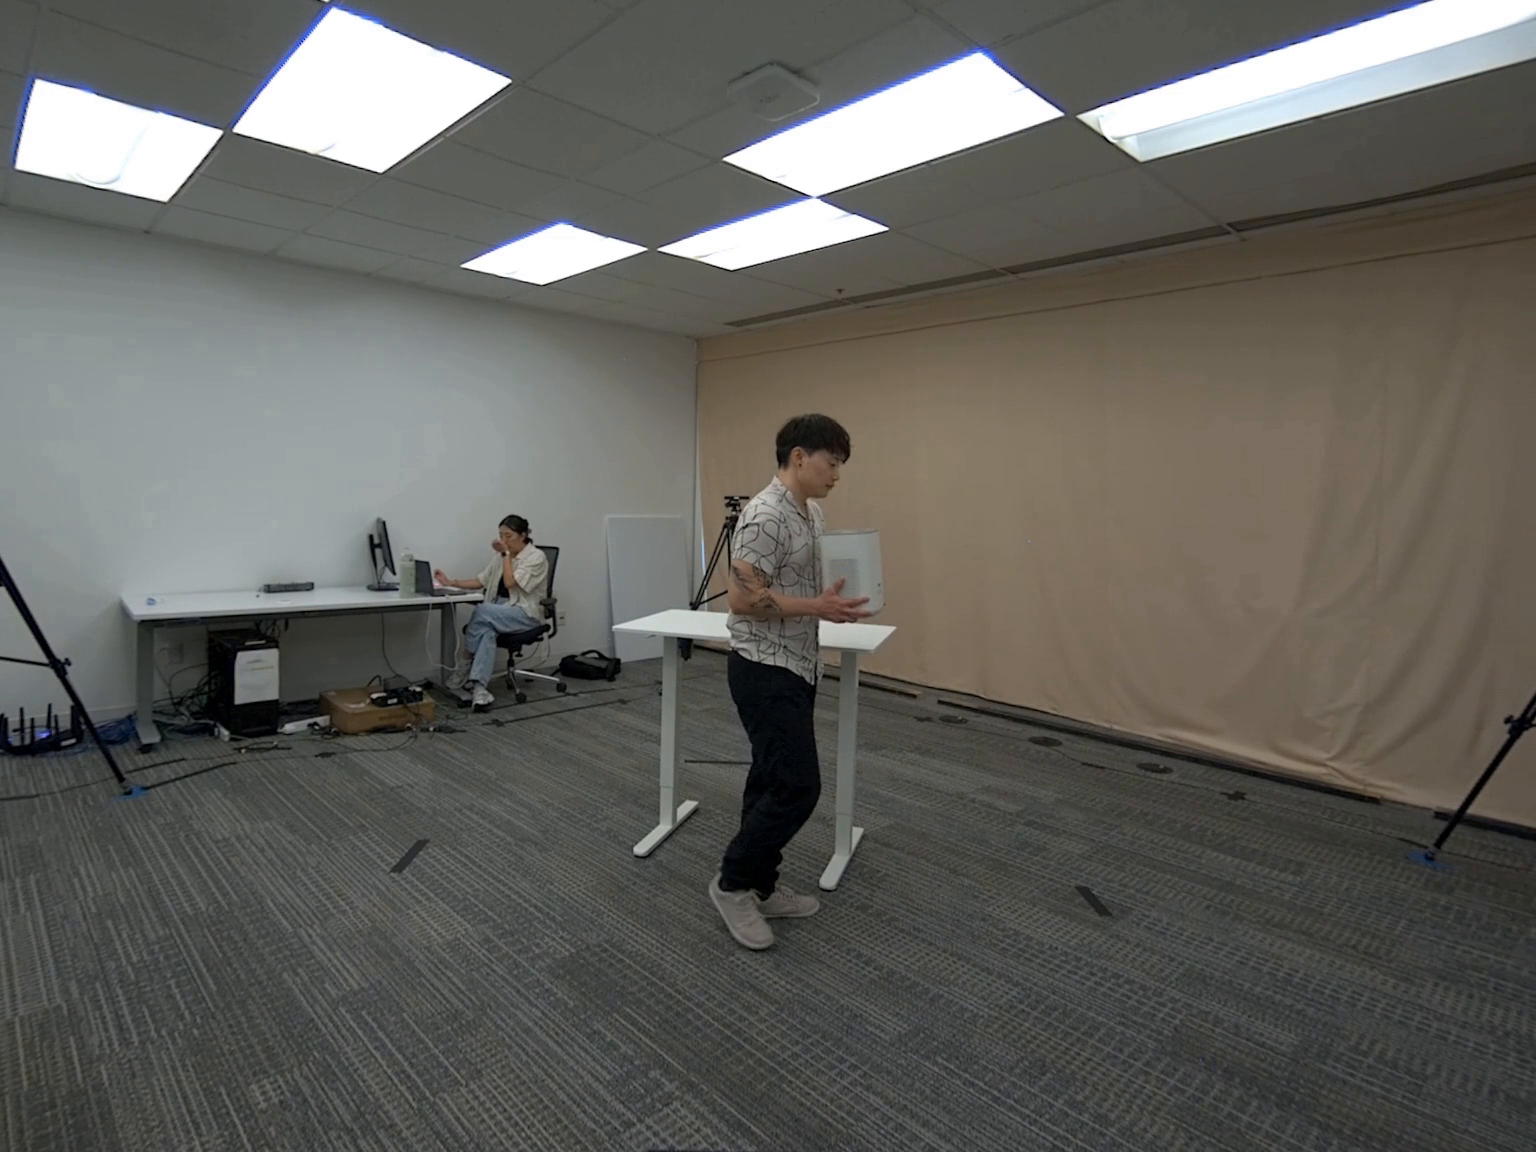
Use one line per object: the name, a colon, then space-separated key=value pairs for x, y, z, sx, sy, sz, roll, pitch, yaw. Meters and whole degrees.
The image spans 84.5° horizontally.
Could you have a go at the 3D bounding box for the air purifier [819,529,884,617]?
air purifier: x=0.258 y=-0.007 z=2.622 sx=0.174 sy=0.264 sz=0.169 roll=-3 pitch=5 yaw=21
